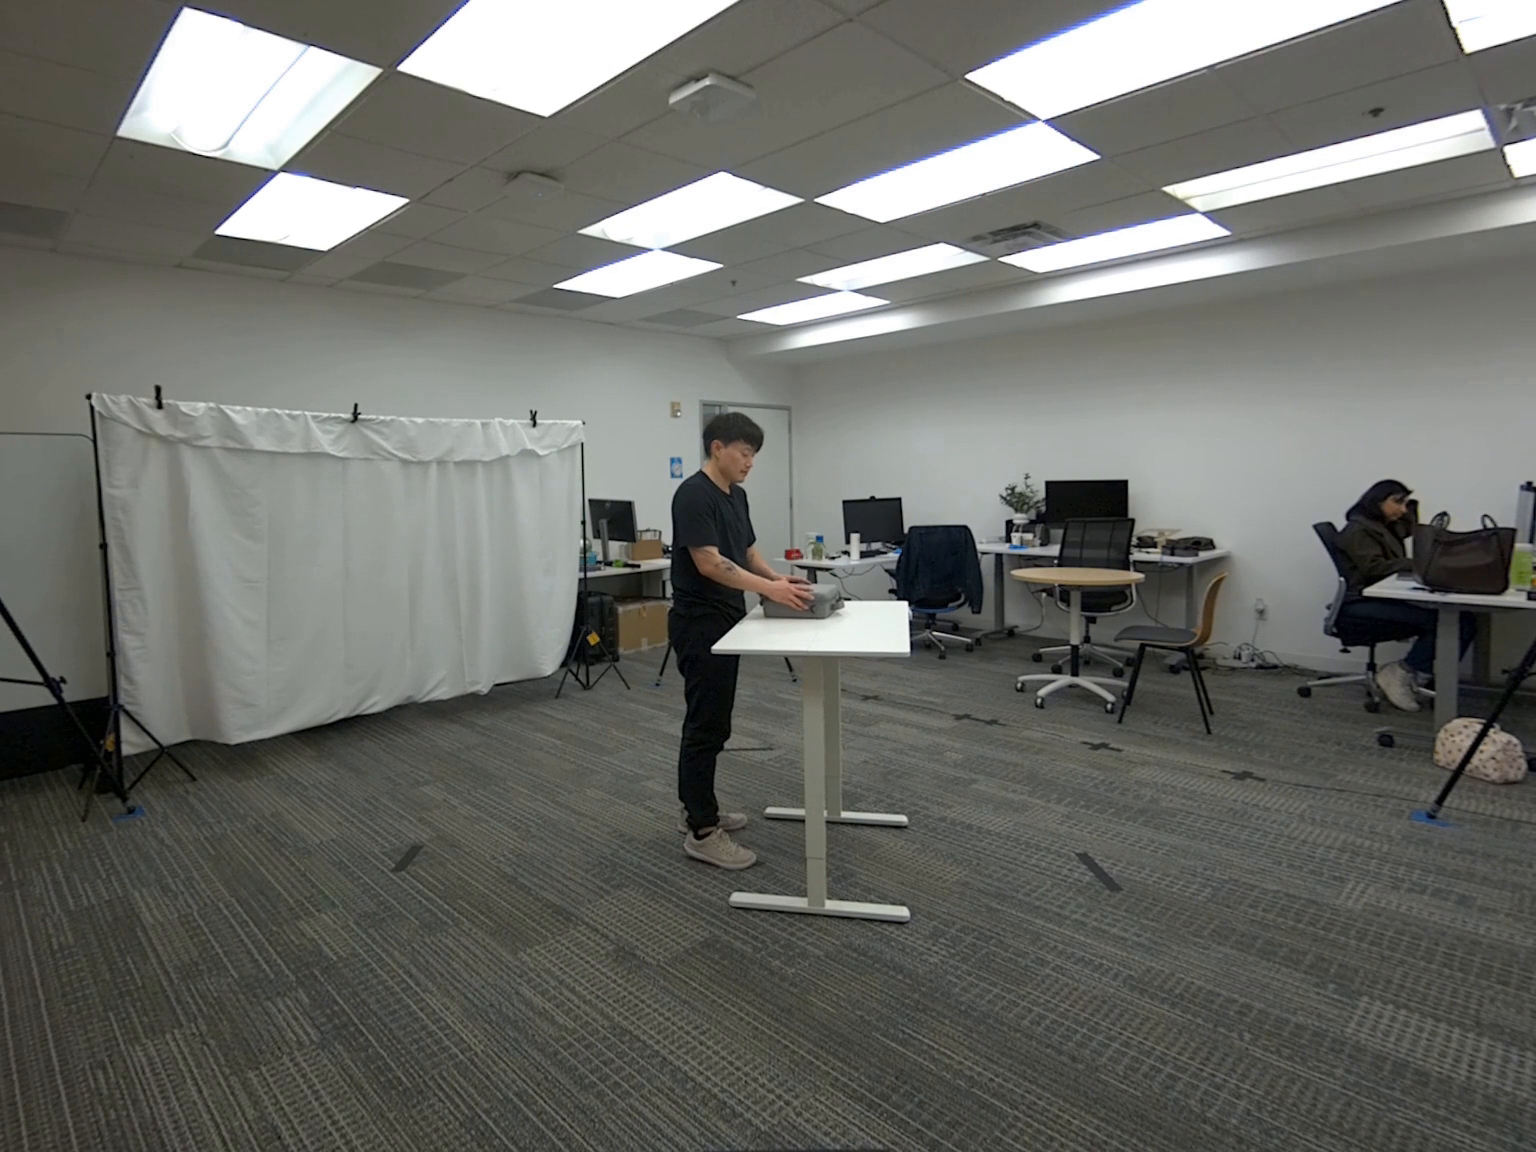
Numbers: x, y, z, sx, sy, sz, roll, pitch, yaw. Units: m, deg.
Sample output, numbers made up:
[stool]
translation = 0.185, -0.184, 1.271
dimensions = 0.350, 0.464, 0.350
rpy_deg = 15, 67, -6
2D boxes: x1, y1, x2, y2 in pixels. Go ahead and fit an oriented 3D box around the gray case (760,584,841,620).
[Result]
[gray case]
translation = 0.135, 0.094, 3.251
dimensions = 0.265, 0.104, 0.253
rpy_deg = 0, 5, 19
